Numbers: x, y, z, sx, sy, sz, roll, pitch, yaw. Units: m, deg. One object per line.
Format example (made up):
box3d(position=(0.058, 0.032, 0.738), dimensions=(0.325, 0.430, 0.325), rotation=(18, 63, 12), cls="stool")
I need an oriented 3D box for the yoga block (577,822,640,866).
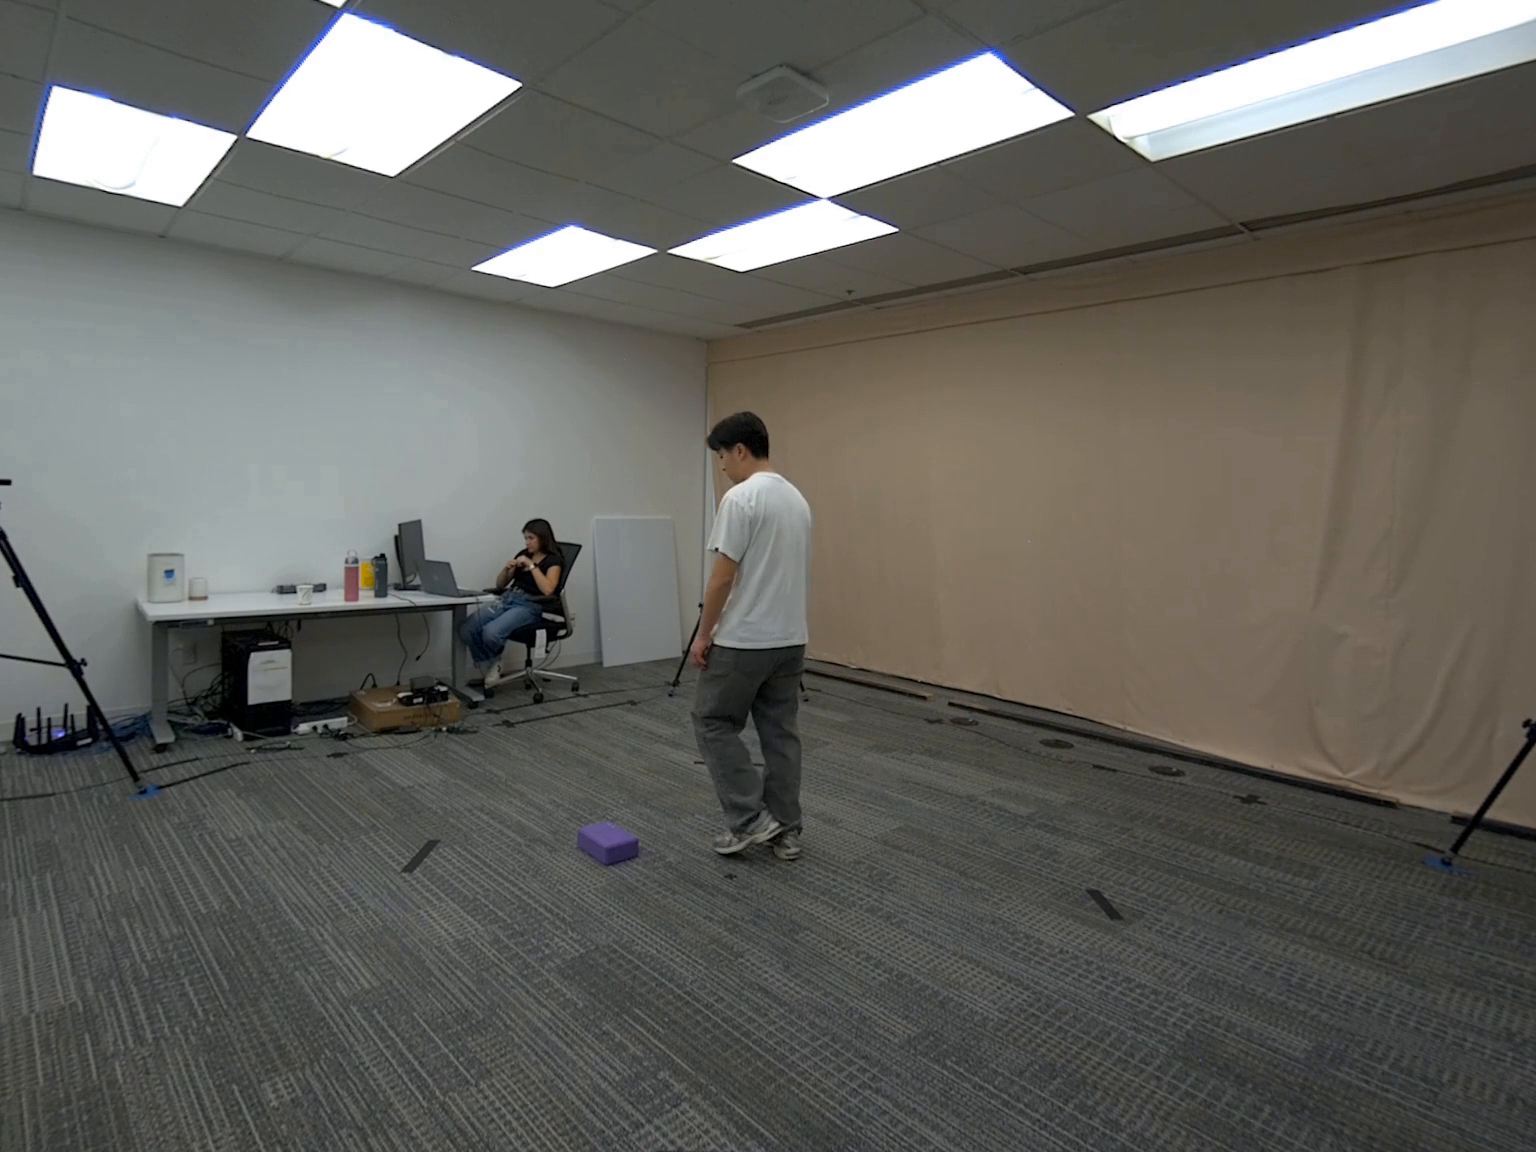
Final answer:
box3d(position=(-0.635, 1.042, 3.287), dimensions=(0.145, 0.076, 0.235), rotation=(-3, 7, -41), cls="yoga block")
